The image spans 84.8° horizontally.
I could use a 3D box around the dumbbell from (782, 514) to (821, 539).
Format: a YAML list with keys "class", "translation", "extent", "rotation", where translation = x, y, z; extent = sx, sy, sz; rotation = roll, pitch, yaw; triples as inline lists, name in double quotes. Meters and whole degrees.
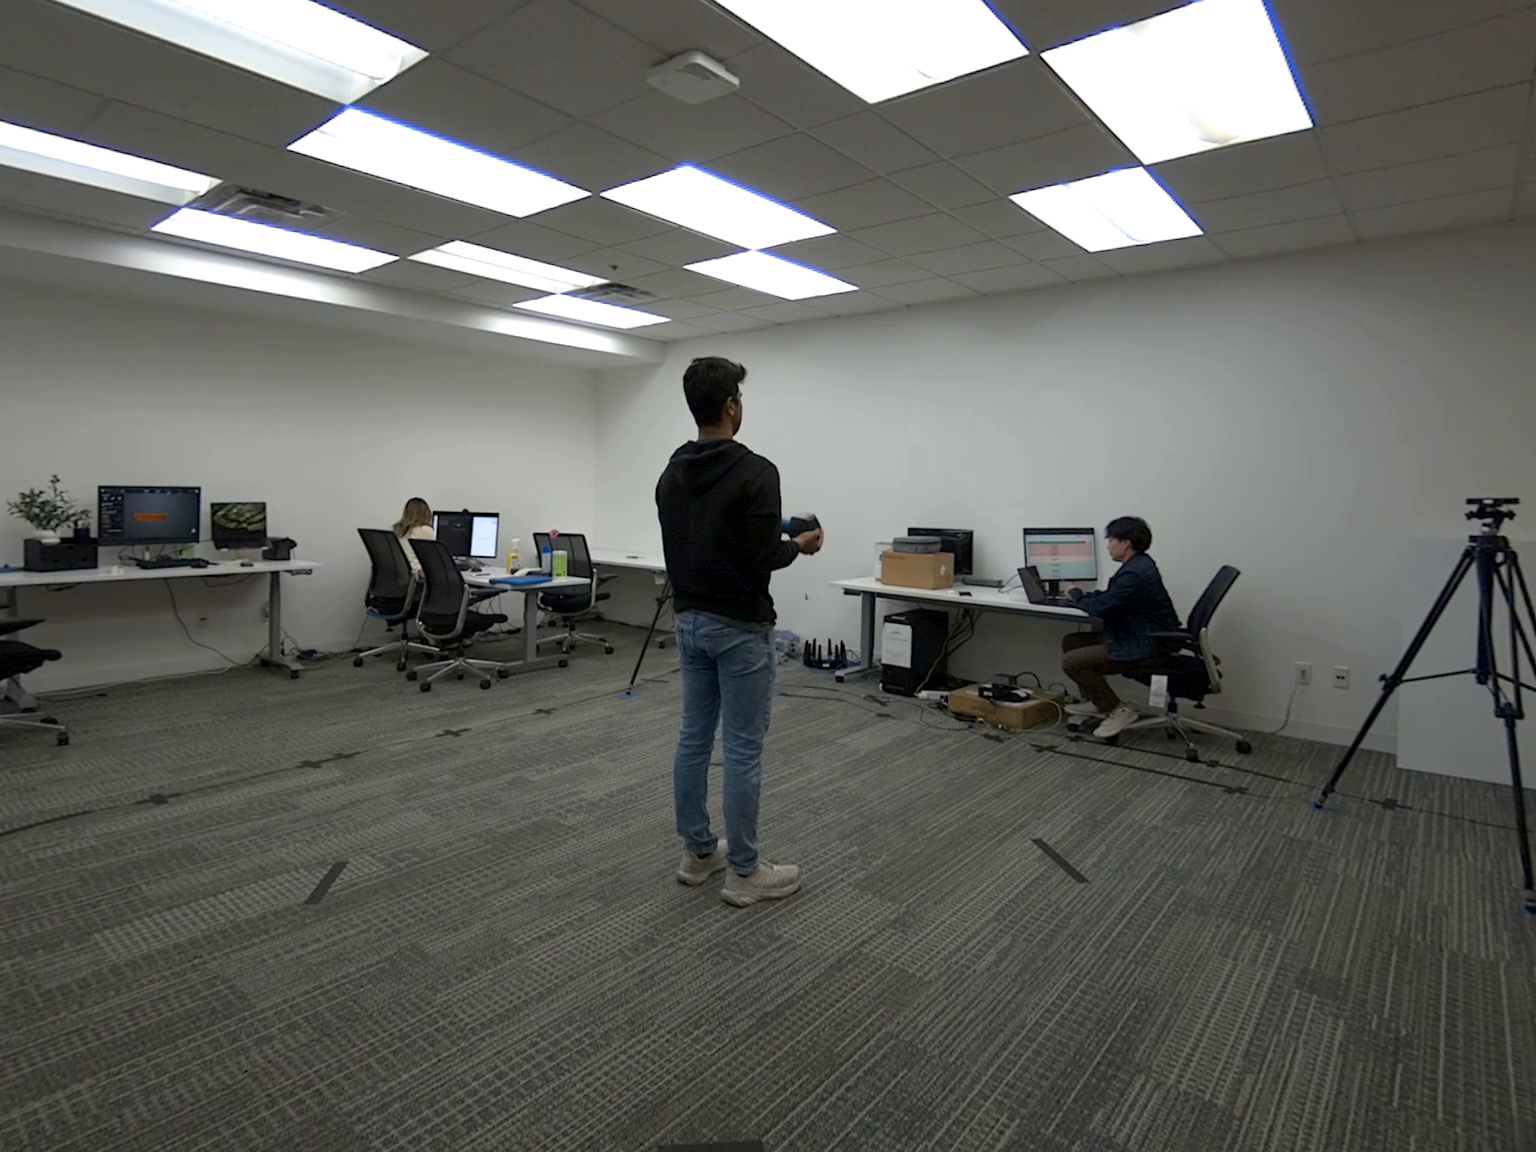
- class: "dumbbell"
  translation: [0.031, -0.177, 3.128]
  extent: [0.304, 0.109, 0.118]
  rotation: [14, -33, 41]
